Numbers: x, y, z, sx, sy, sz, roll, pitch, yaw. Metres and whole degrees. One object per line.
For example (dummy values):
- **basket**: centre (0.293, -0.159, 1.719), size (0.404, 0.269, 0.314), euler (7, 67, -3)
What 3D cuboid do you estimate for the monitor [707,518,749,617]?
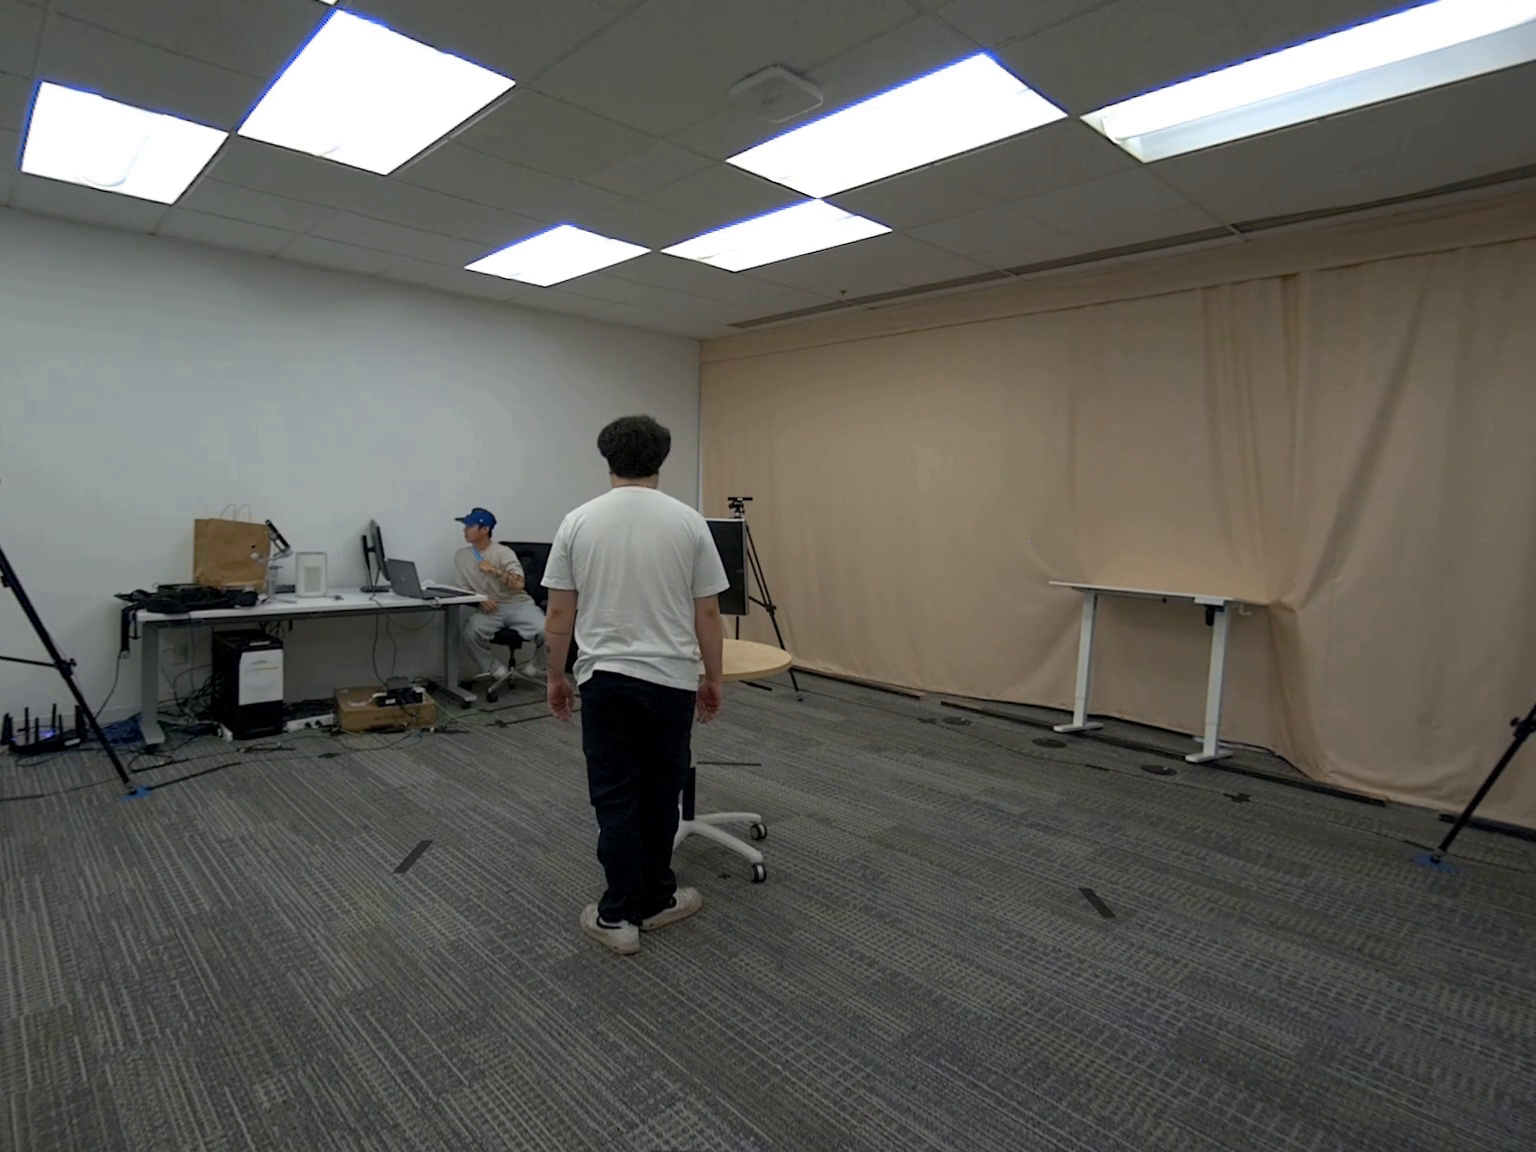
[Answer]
- **monitor**: centre (-0.380, 0.056, 3.130), size (0.575, 0.551, 0.207), euler (3, 7, 21)
